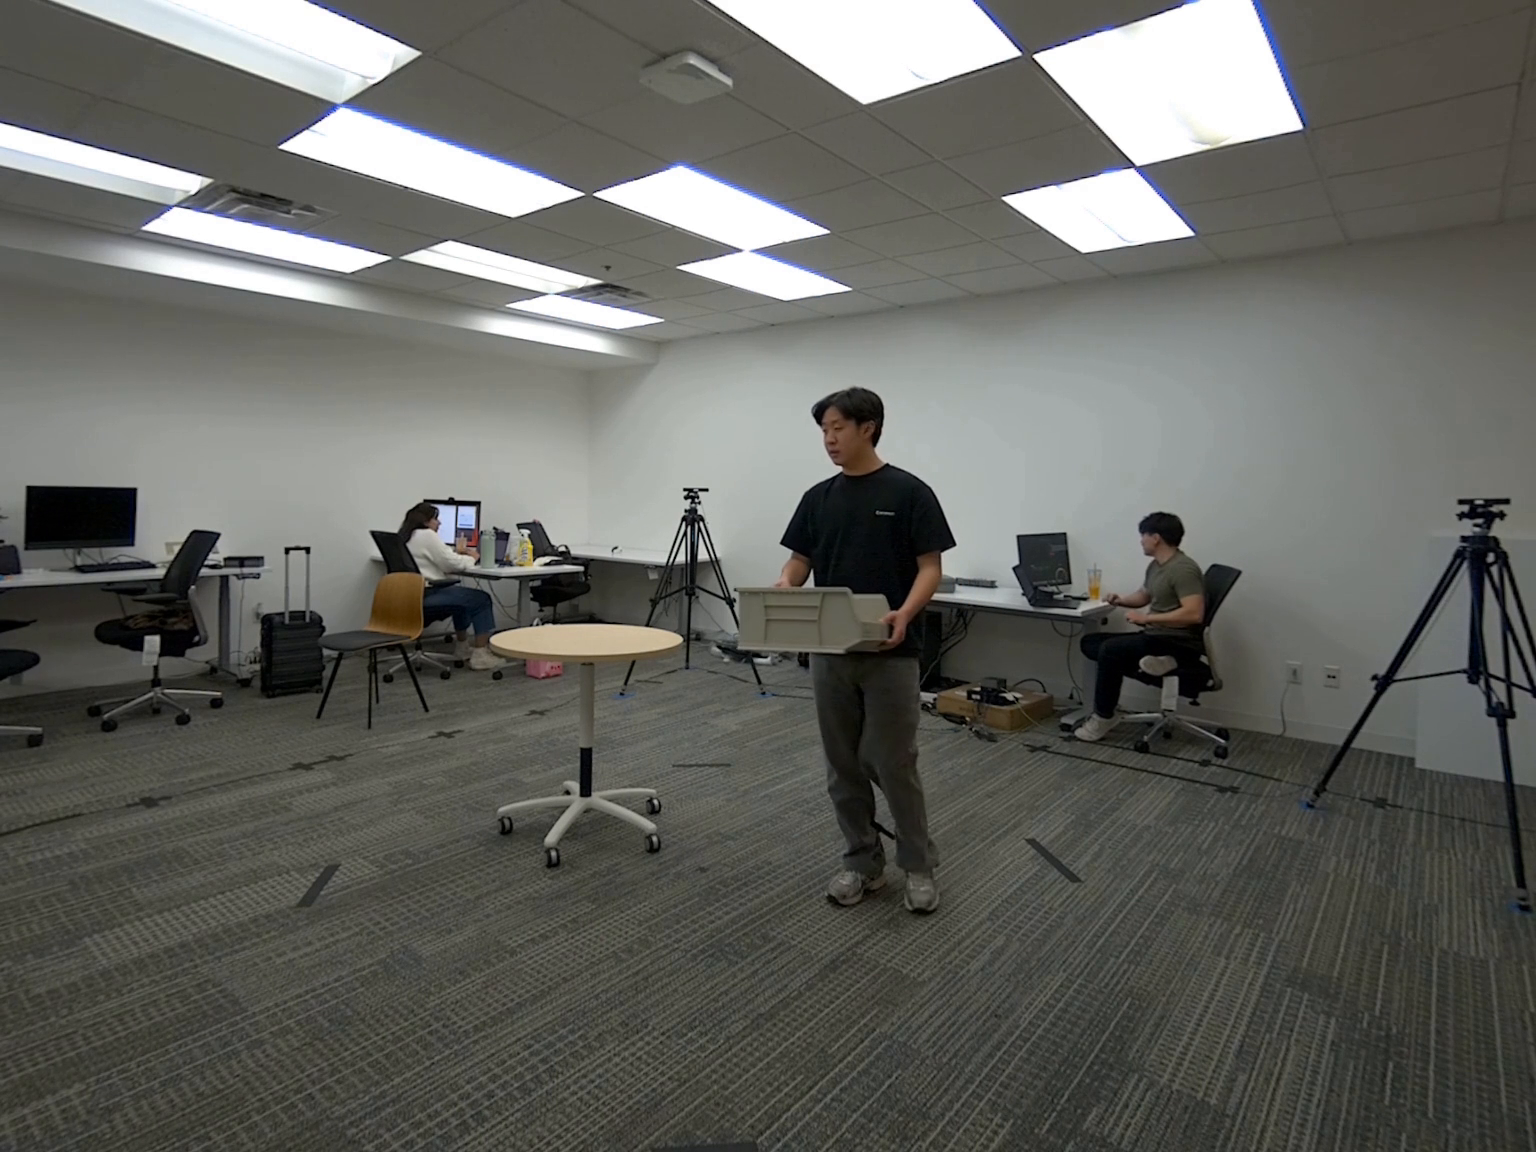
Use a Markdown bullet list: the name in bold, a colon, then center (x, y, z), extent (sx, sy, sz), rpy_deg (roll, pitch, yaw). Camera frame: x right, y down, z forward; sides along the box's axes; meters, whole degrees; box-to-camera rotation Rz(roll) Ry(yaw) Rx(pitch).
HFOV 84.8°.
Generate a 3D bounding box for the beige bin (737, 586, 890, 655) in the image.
- **beige bin**: center (0.140, 0.139, 2.559), extent (0.386, 0.190, 0.411), rpy_deg (0, -3, 22)
